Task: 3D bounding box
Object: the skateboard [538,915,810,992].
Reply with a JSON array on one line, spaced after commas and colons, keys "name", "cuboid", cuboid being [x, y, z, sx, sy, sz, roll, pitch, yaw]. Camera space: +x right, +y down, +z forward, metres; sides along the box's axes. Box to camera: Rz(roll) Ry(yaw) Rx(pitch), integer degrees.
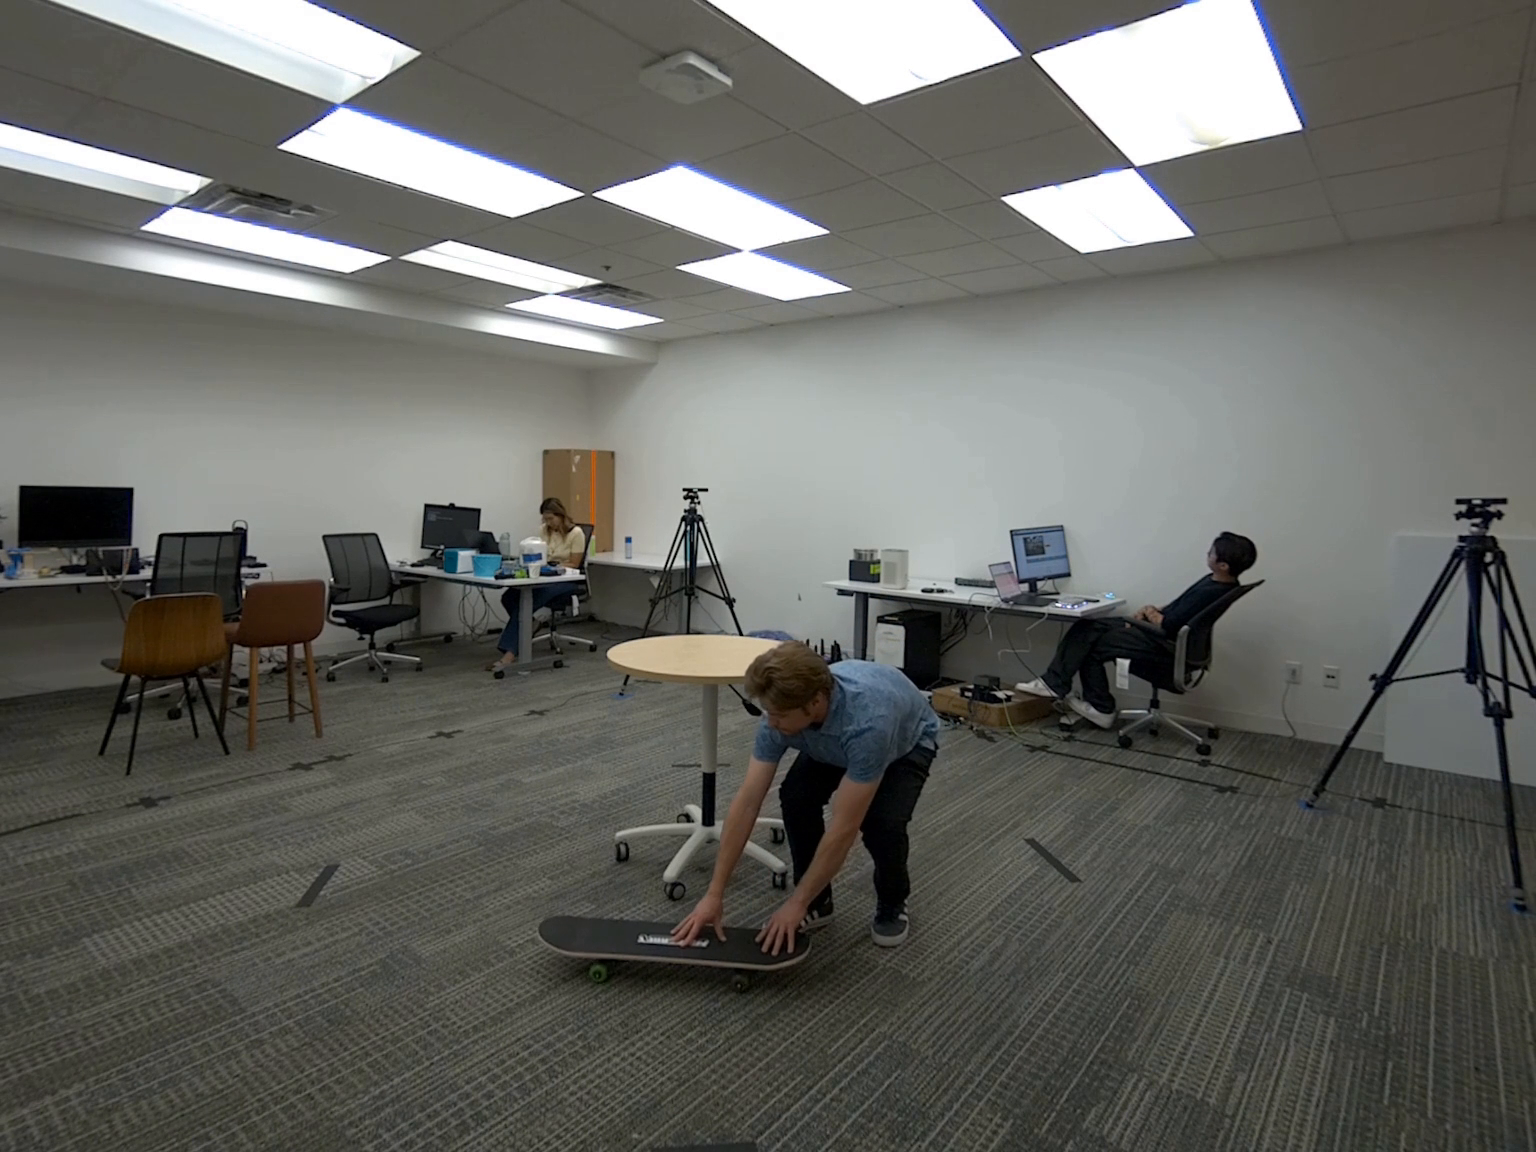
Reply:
[{"name": "skateboard", "cuboid": [-0.284, 1.078, 2.450, 0.790, 0.110, 0.193, 1, 6, 5]}]
